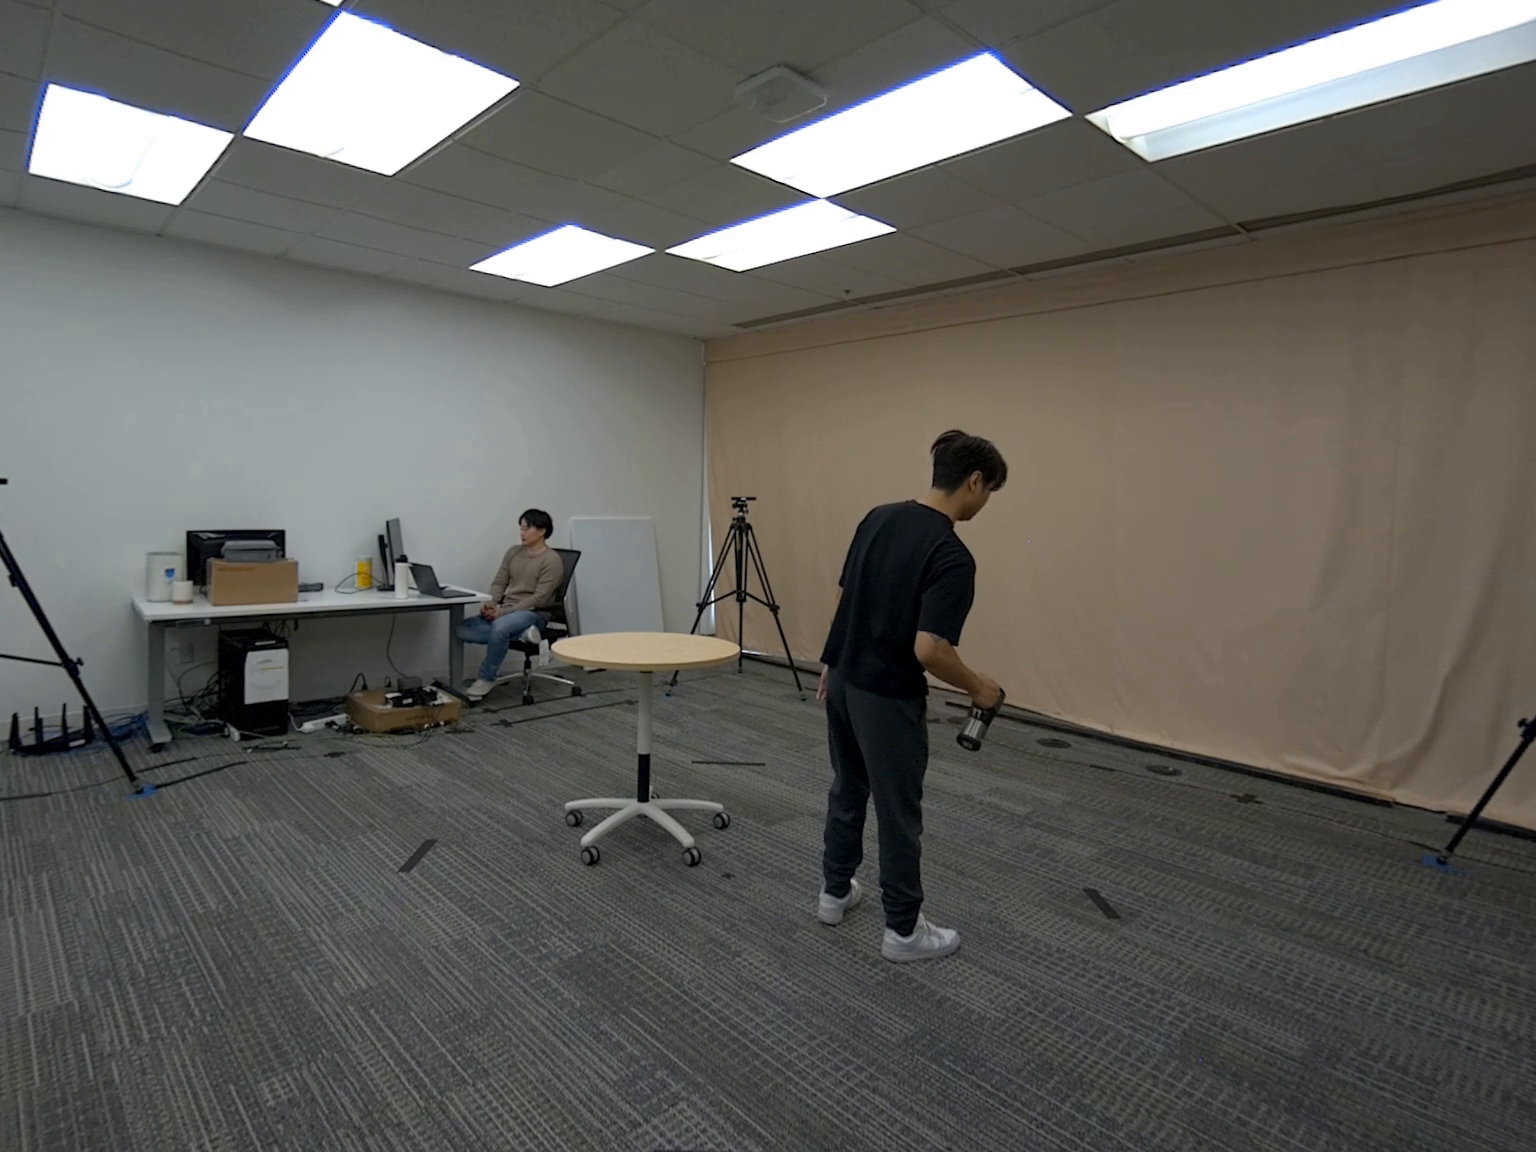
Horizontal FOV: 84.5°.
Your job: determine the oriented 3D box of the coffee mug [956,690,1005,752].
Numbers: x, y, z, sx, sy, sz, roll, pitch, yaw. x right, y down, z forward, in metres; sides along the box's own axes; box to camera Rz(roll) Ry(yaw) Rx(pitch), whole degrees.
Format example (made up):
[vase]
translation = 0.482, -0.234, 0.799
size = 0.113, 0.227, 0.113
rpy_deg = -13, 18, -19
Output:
[coffee mug]
translation = 0.613, 0.416, 2.516
size = 0.125, 0.203, 0.085
rpy_deg = 23, -24, 27
